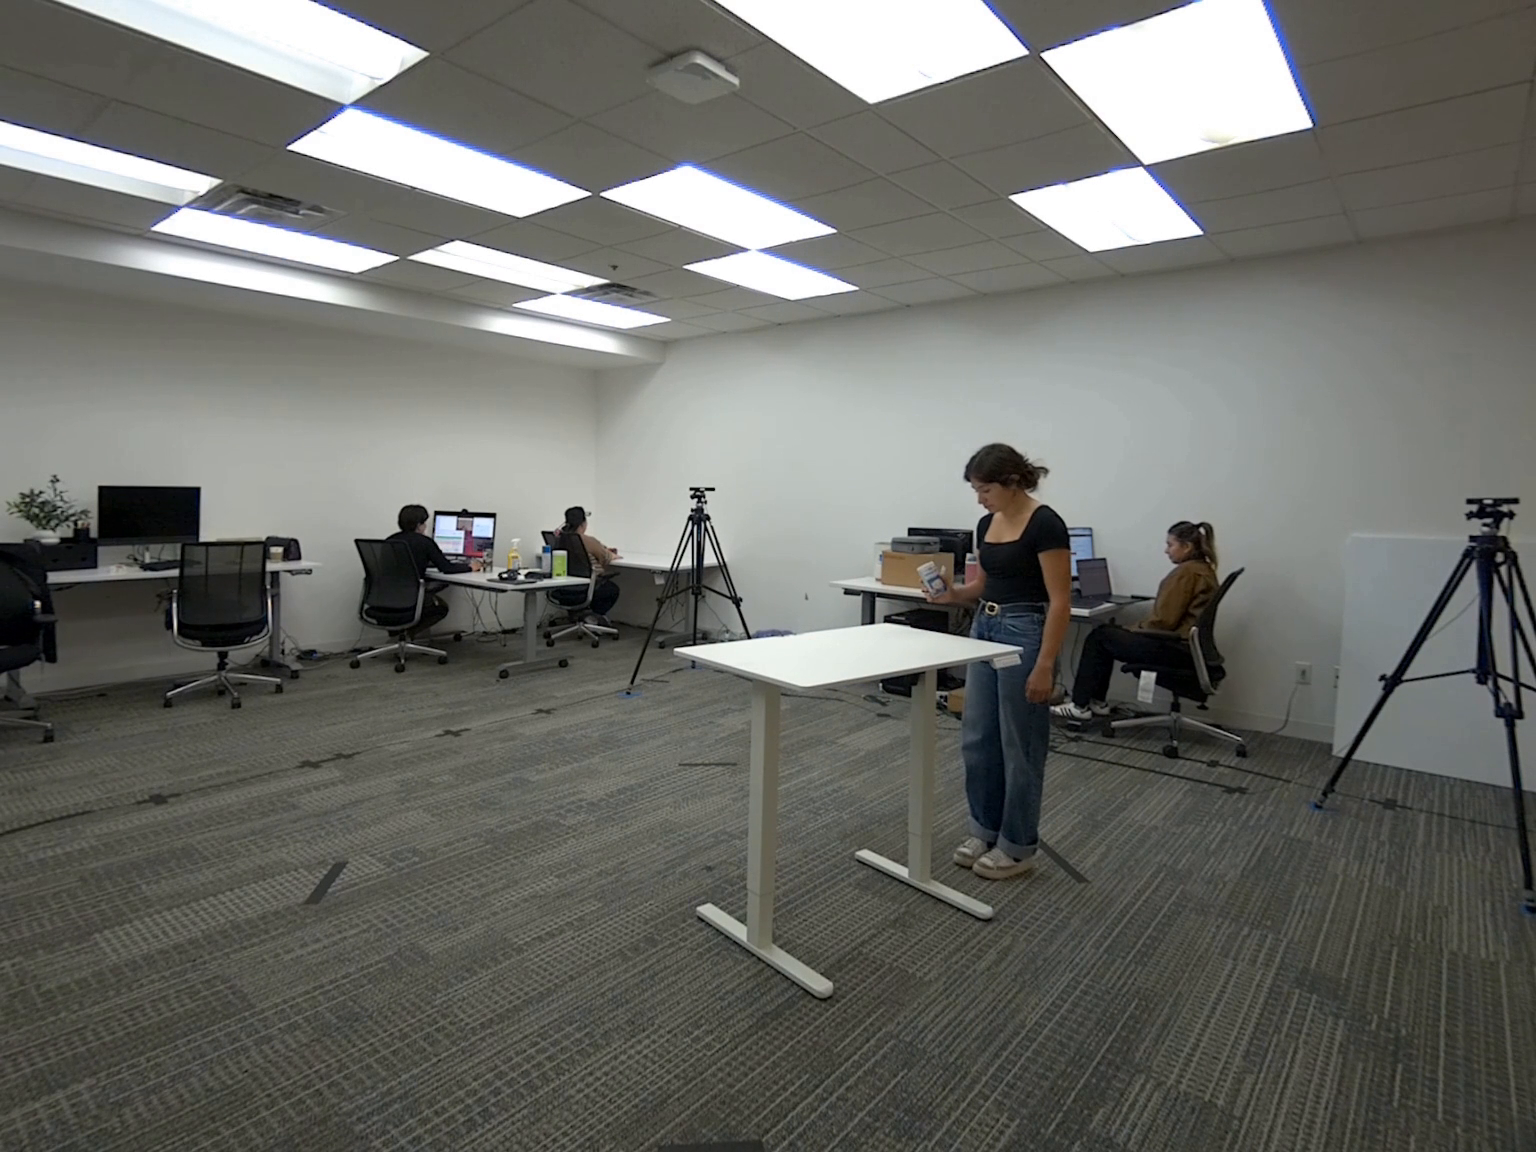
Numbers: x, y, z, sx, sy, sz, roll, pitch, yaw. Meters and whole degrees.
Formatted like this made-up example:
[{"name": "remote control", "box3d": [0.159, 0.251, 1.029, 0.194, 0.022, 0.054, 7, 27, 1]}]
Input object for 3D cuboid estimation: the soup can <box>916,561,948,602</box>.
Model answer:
[{"name": "soup can", "box3d": [0.606, 0.004, 3.152, 0.067, 0.122, 0.067, -16, 0, -2]}]
